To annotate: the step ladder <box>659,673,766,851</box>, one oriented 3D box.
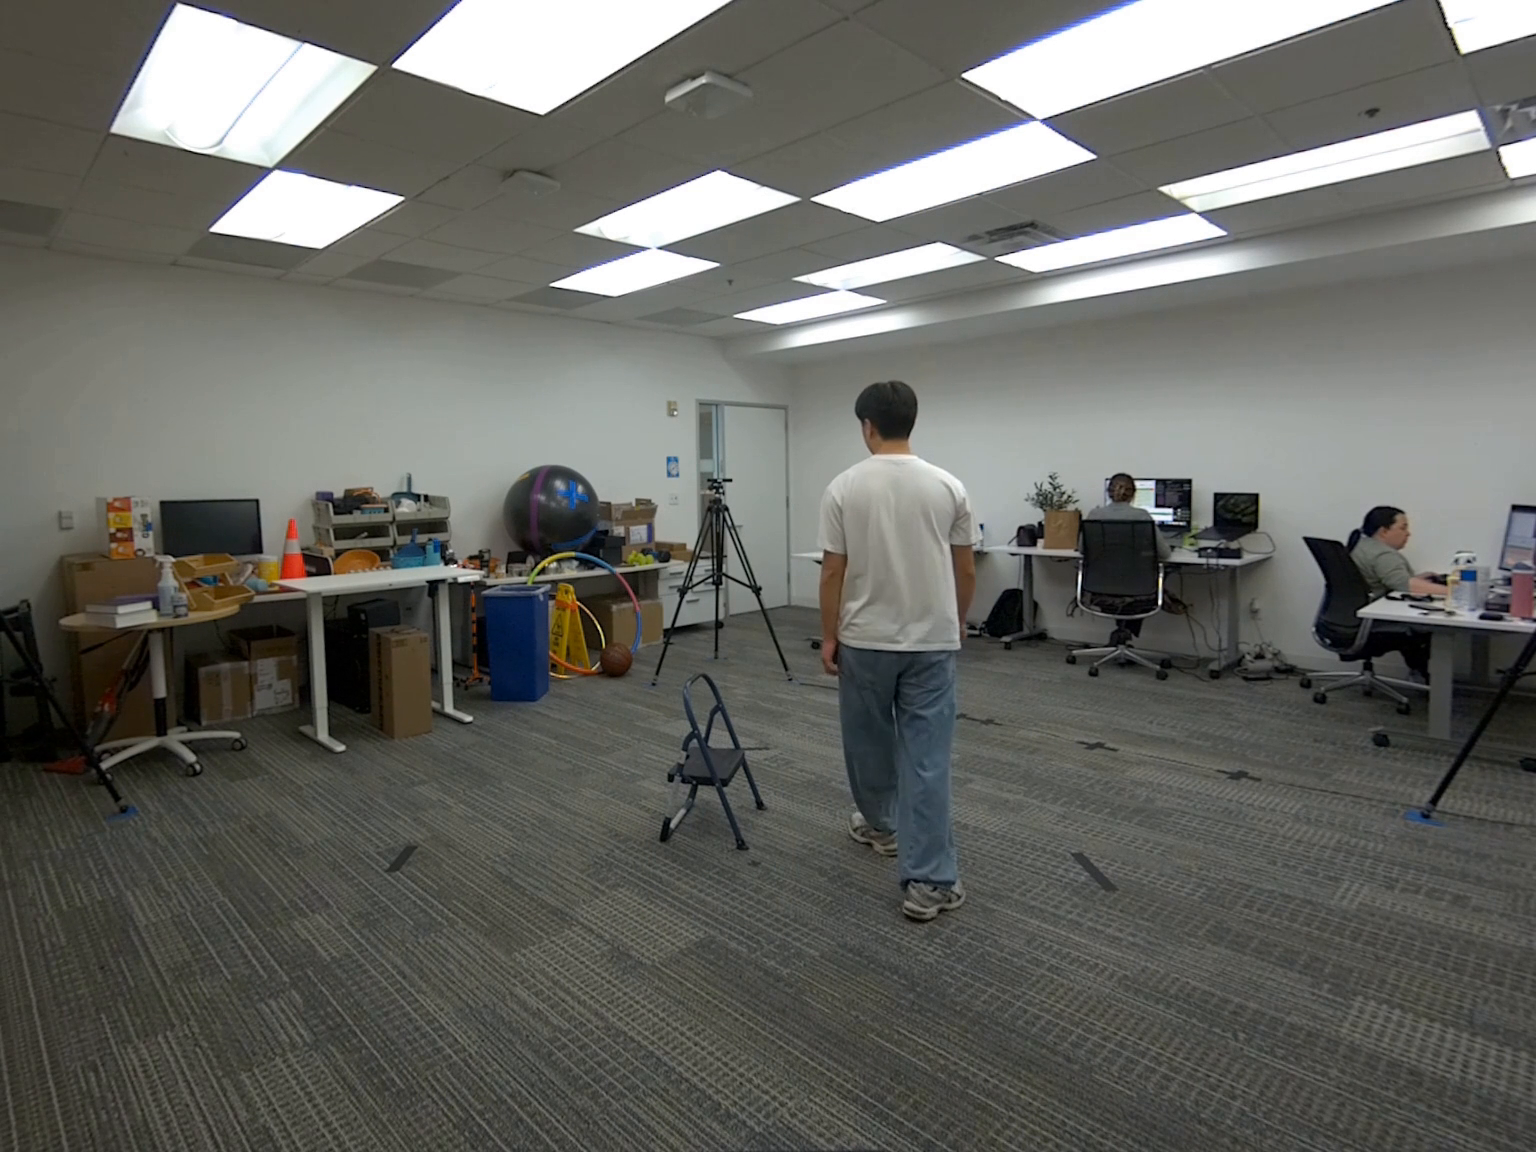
[{"bbox_3d":[-0.223,0.706,3.450,0.354,0.604,0.427,-1,4,12],"label":"step ladder"}]
